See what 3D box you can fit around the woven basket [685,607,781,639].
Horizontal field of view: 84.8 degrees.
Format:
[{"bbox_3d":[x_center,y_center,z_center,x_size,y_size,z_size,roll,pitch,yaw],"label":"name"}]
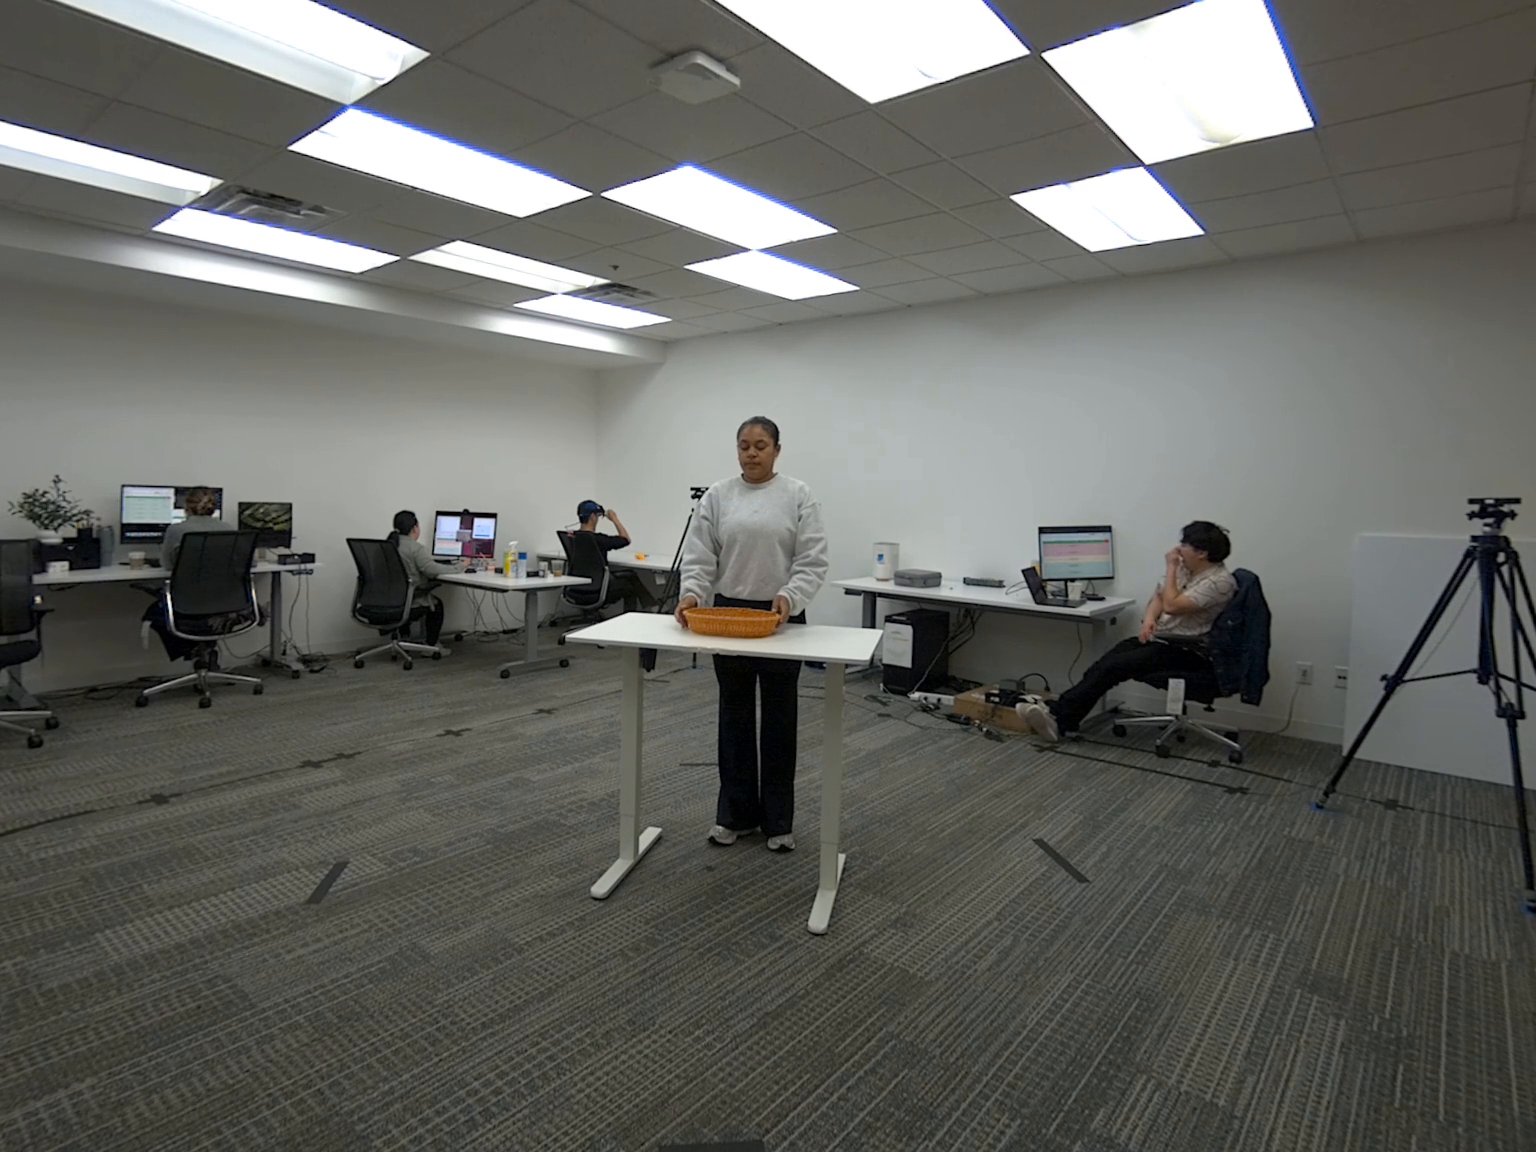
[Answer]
[{"bbox_3d":[-0.146,0.160,3.020,0.360,0.073,0.247,5,7,25],"label":"woven basket"}]
